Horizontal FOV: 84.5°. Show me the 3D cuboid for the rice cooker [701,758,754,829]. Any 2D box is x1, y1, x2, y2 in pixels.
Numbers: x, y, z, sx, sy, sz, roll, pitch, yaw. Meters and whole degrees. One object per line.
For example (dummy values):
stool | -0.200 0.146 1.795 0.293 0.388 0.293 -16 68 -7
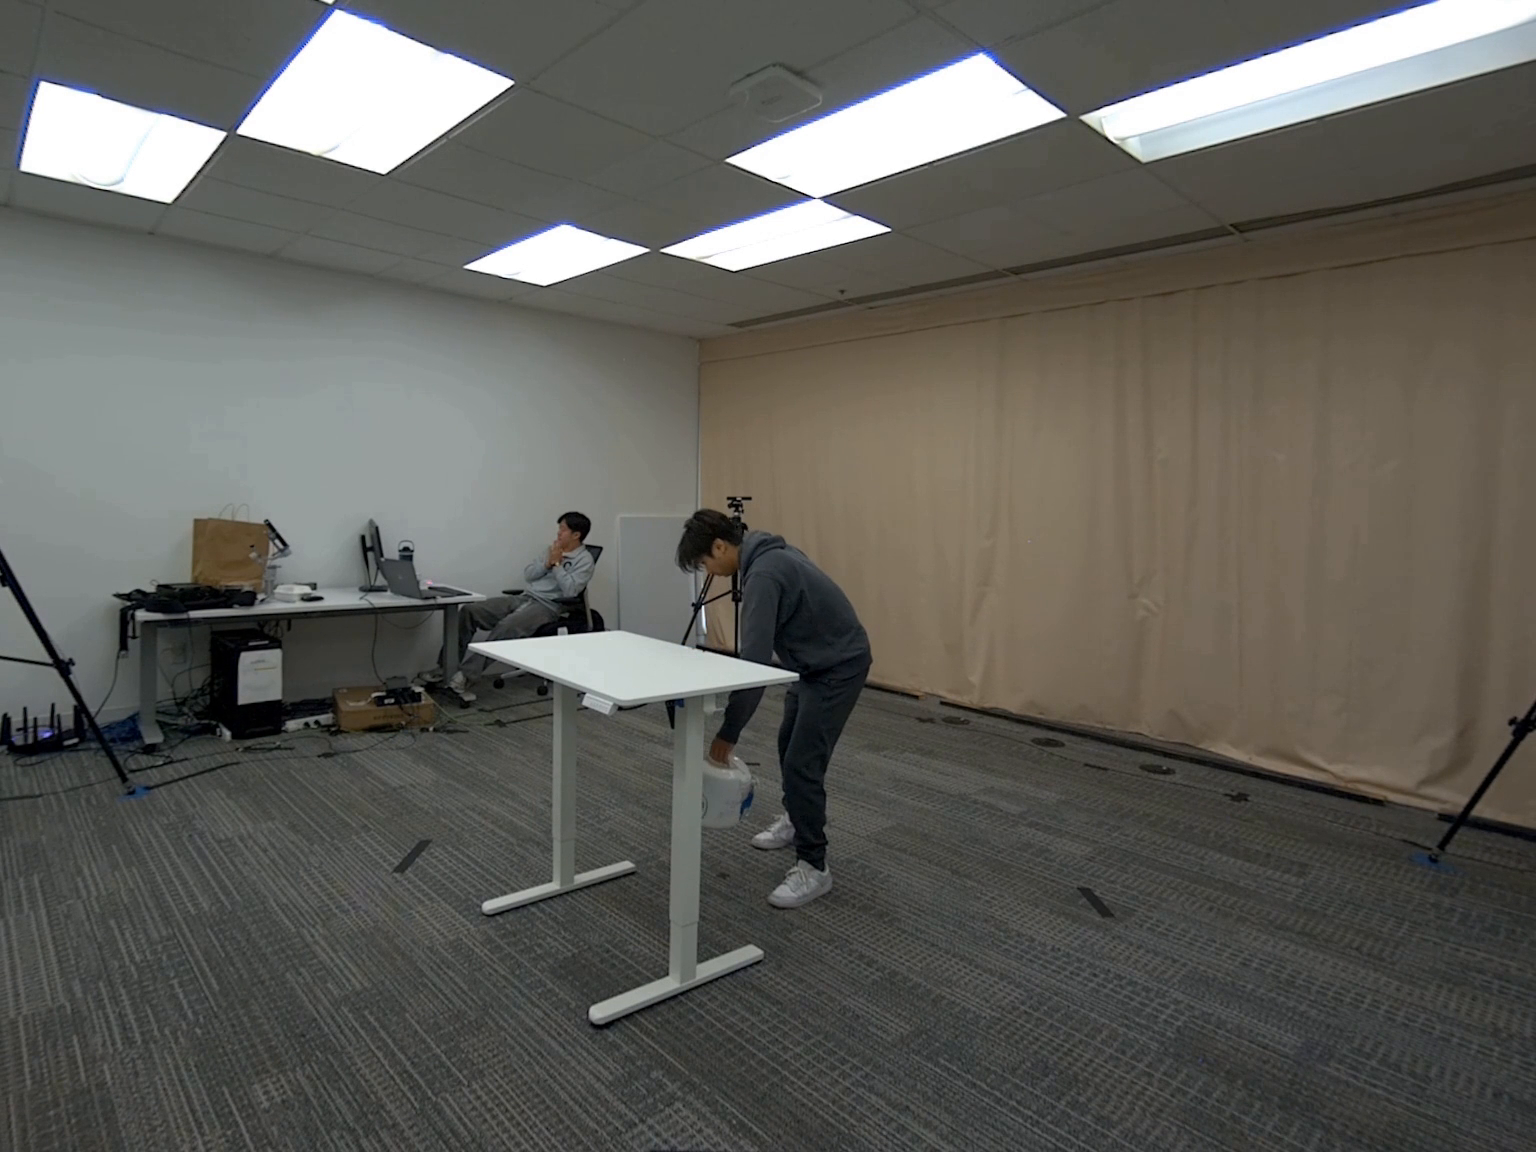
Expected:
rice cooker | -0.172 0.710 2.813 0.226 0.232 0.213 13 6 28
